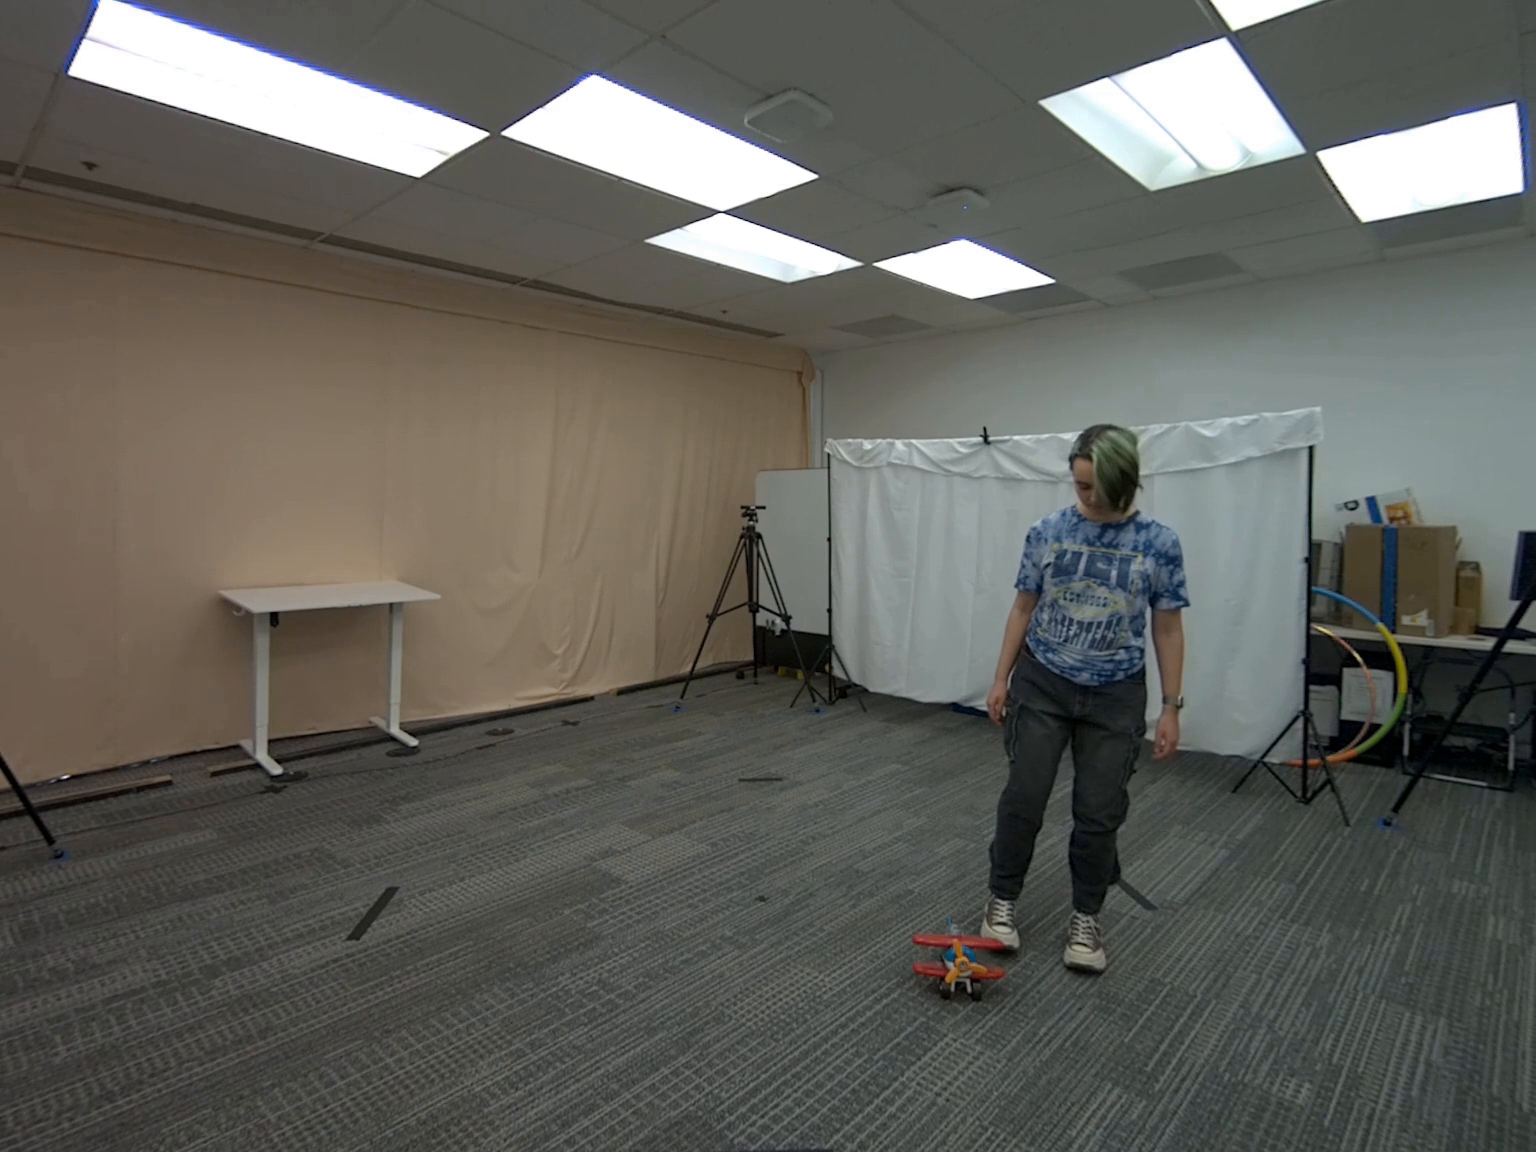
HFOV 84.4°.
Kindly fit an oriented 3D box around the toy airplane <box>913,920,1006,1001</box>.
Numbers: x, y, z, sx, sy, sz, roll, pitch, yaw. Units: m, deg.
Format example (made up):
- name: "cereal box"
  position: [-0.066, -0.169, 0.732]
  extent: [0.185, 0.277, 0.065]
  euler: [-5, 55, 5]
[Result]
- name: "toy airplane"
  position: [0.540, 1.115, 2.460]
  extent: [0.245, 0.156, 0.266]
  euler: [-3, 6, -25]
